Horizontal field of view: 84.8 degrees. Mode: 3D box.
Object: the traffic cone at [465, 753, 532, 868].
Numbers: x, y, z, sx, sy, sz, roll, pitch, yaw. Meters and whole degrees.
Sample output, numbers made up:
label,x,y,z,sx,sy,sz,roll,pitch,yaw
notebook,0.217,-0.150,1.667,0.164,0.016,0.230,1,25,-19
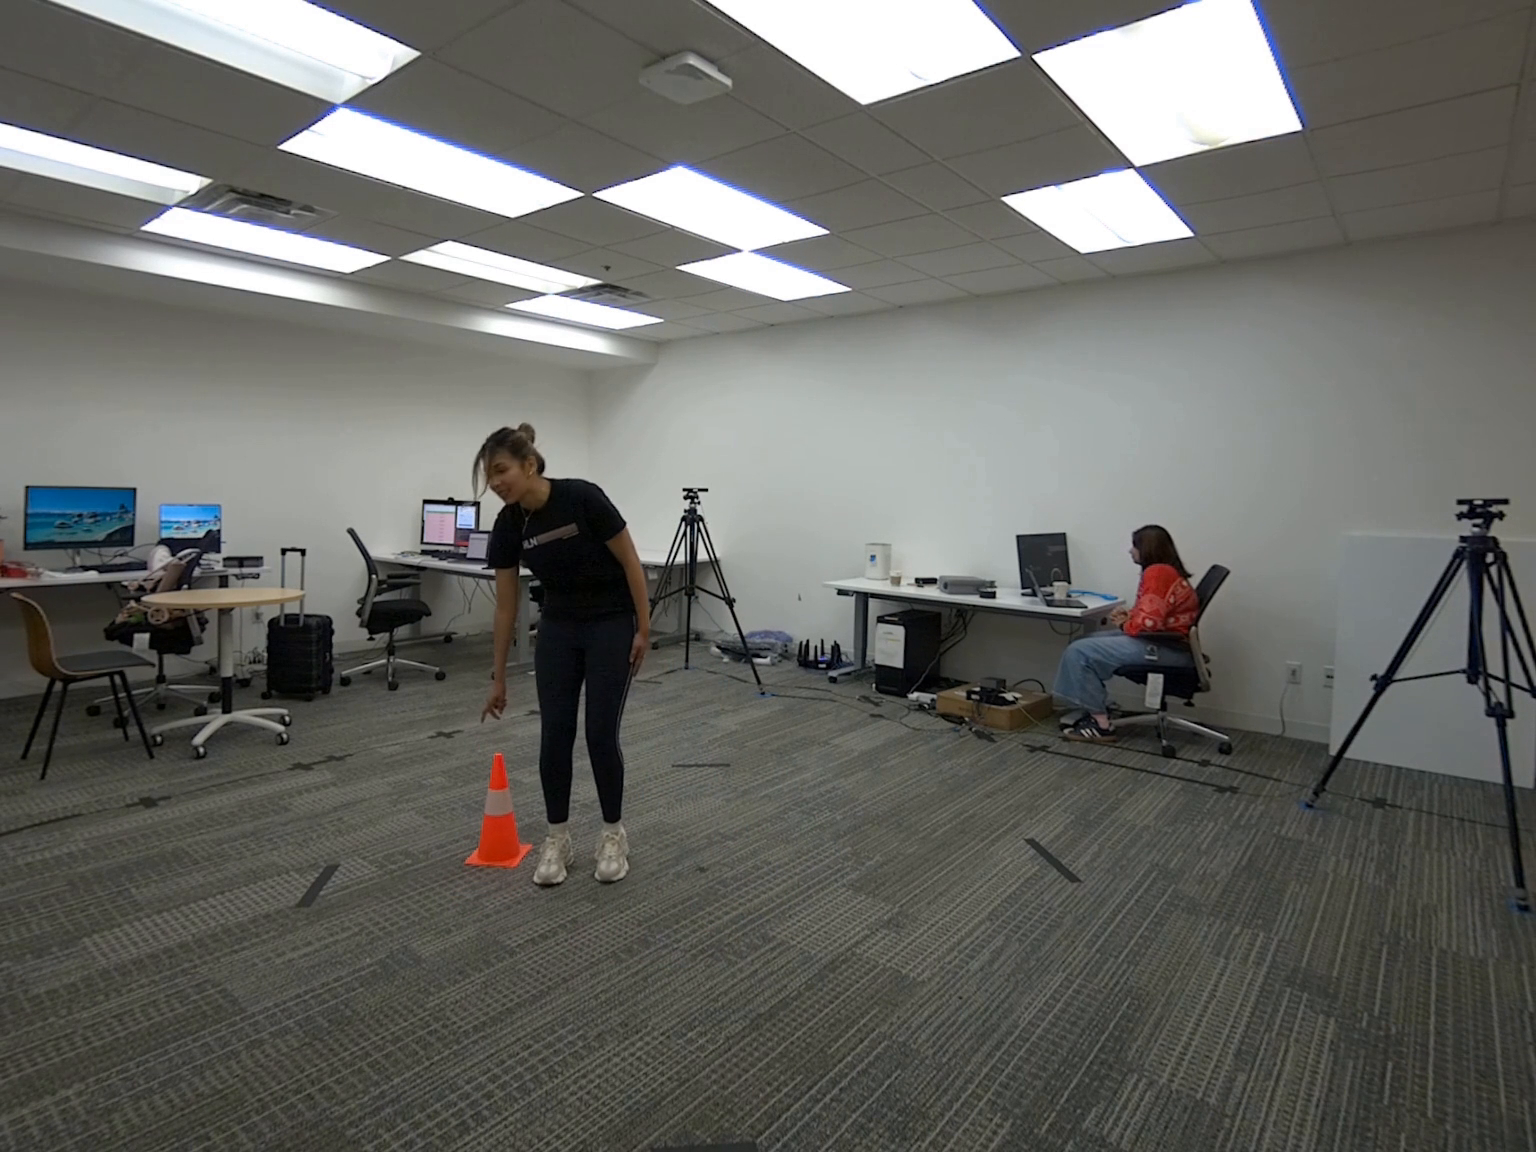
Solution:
label,x,y,z,sx,sy,sz,roll,pitch,yaw
traffic cone,-1.023,0.861,3.196,0.207,0.383,0.202,1,3,8
